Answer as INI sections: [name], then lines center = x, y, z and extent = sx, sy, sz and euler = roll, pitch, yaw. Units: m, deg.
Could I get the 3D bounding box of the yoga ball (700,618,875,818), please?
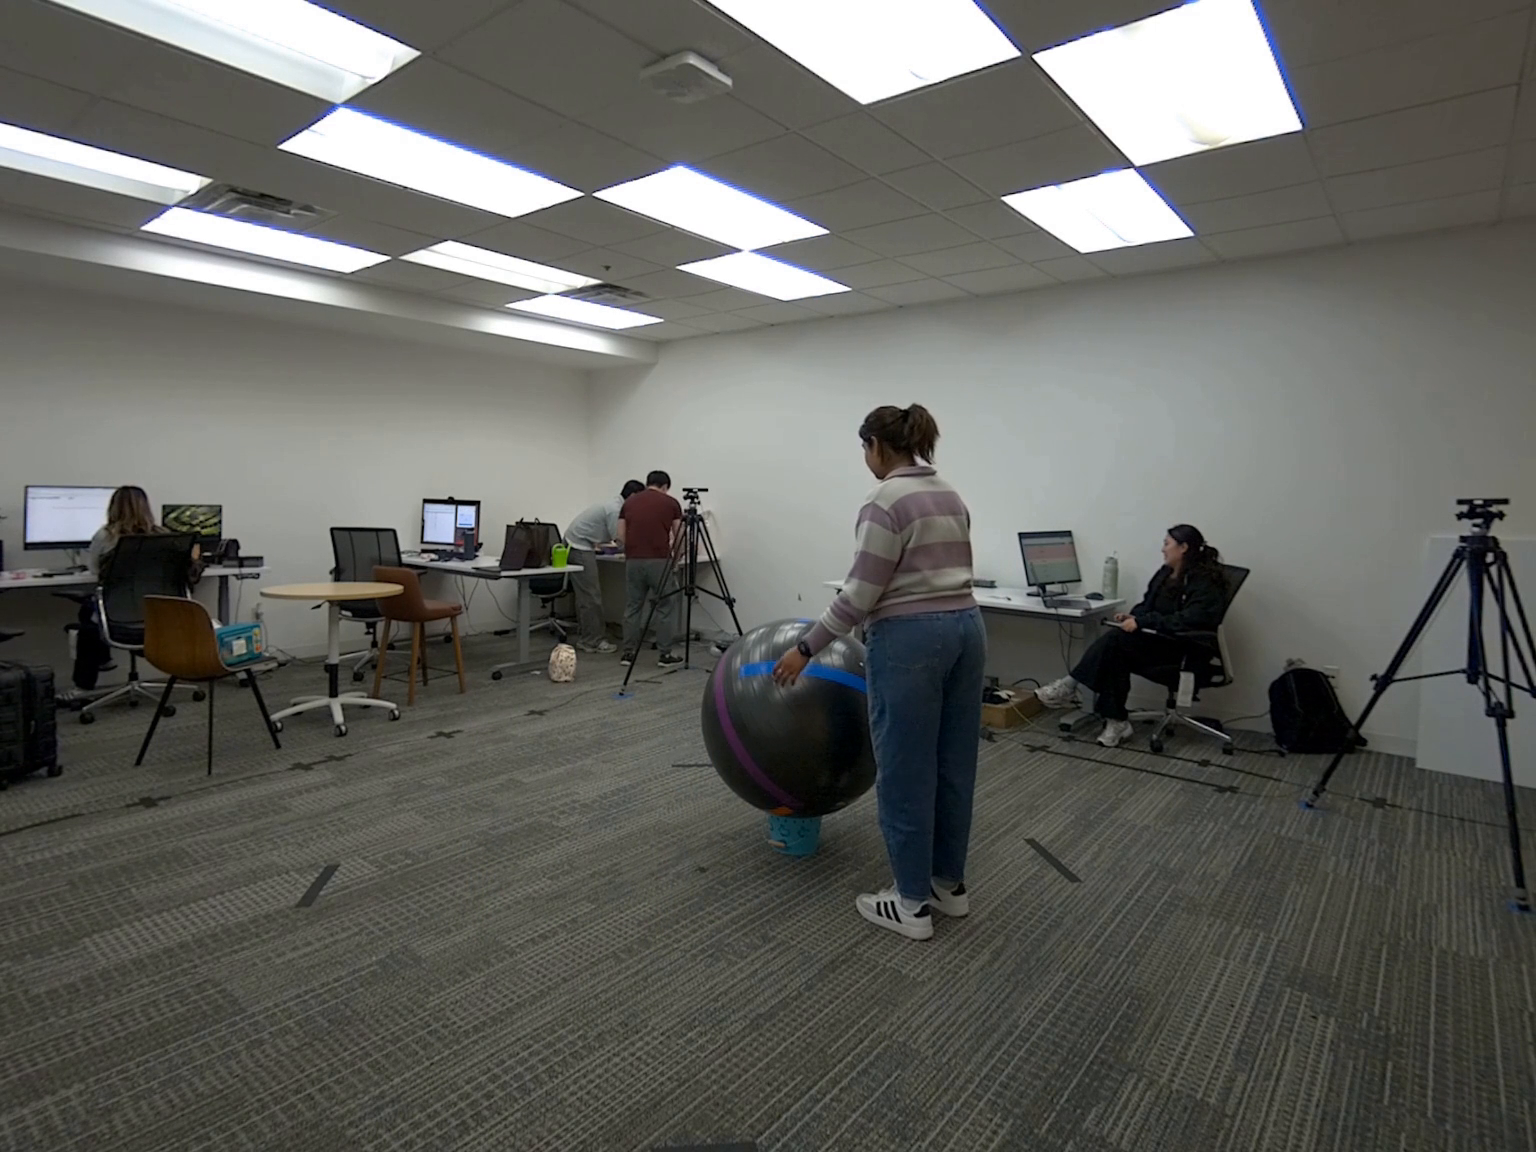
[yoga ball]
center = 0.116, 0.548, 3.319
extent = 0.757, 0.755, 0.762
euler = 1, 4, -2
